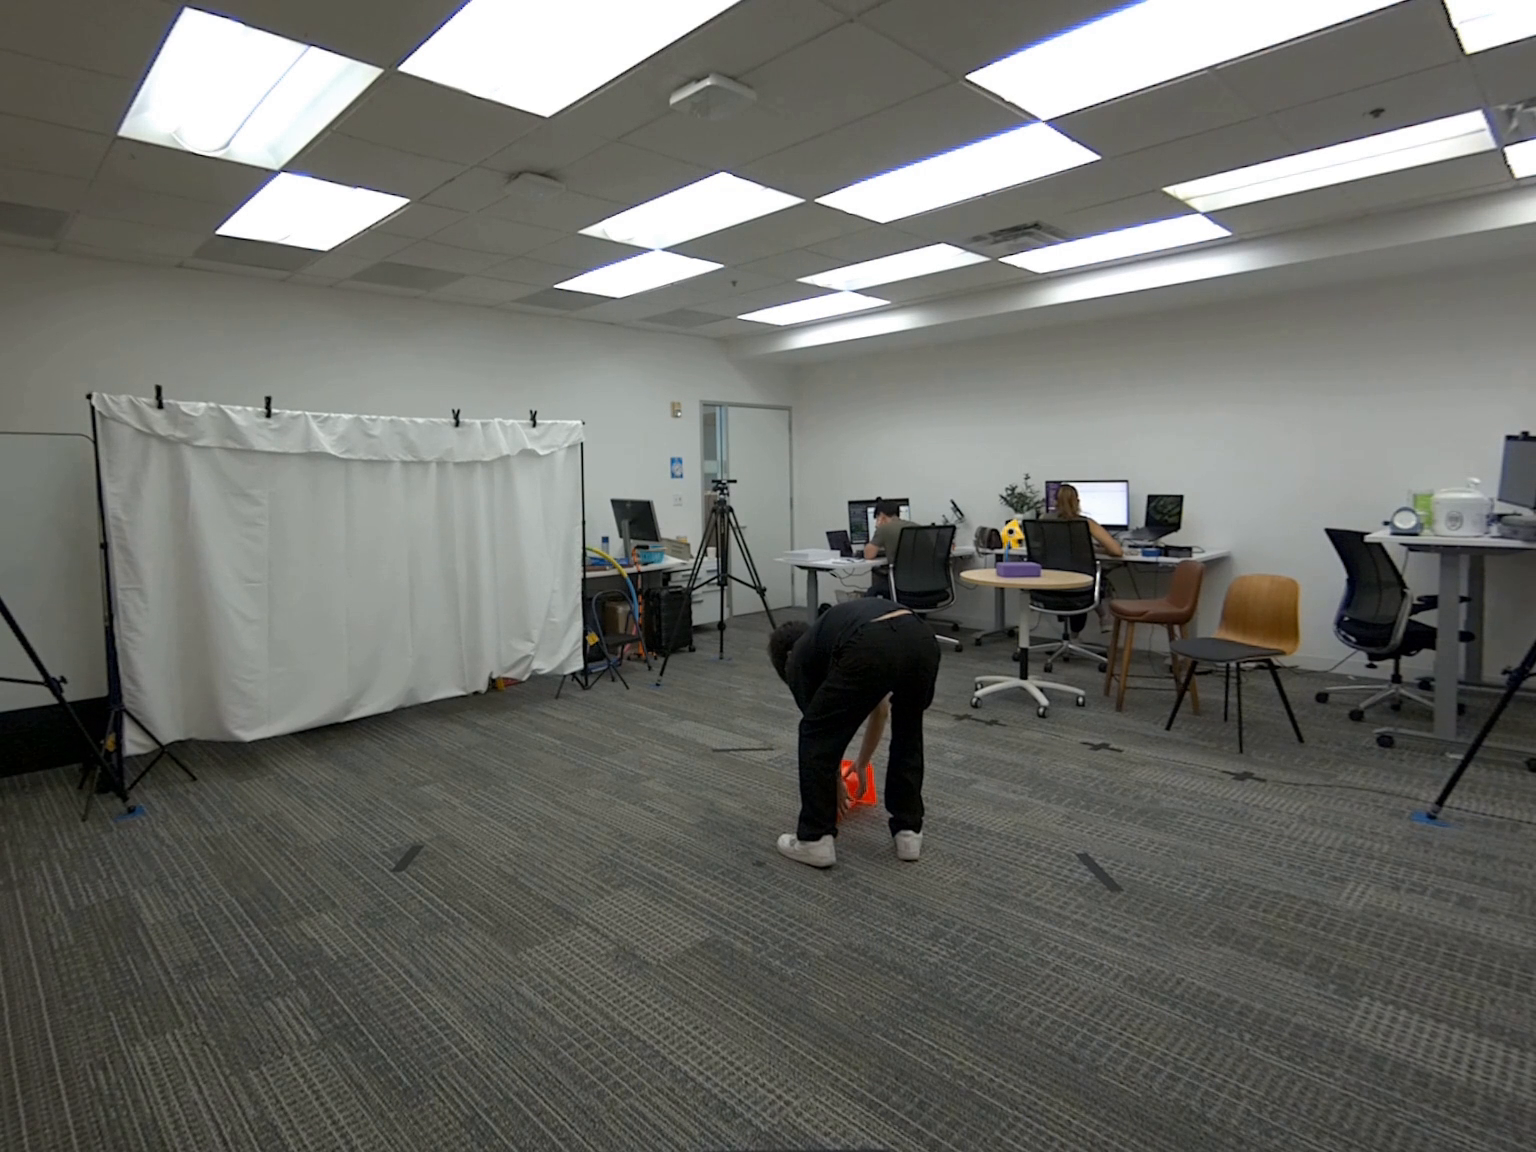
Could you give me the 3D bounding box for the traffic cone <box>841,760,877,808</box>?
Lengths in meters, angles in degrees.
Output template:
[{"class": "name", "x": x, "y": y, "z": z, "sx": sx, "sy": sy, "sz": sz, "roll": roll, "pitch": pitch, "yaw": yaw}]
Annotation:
[{"class": "traffic cone", "x": 0.285, "y": 0.950, "z": 3.520, "sx": 0.208, "sy": 0.202, "sz": 0.381, "roll": -5, "pitch": 16, "yaw": 28}]
